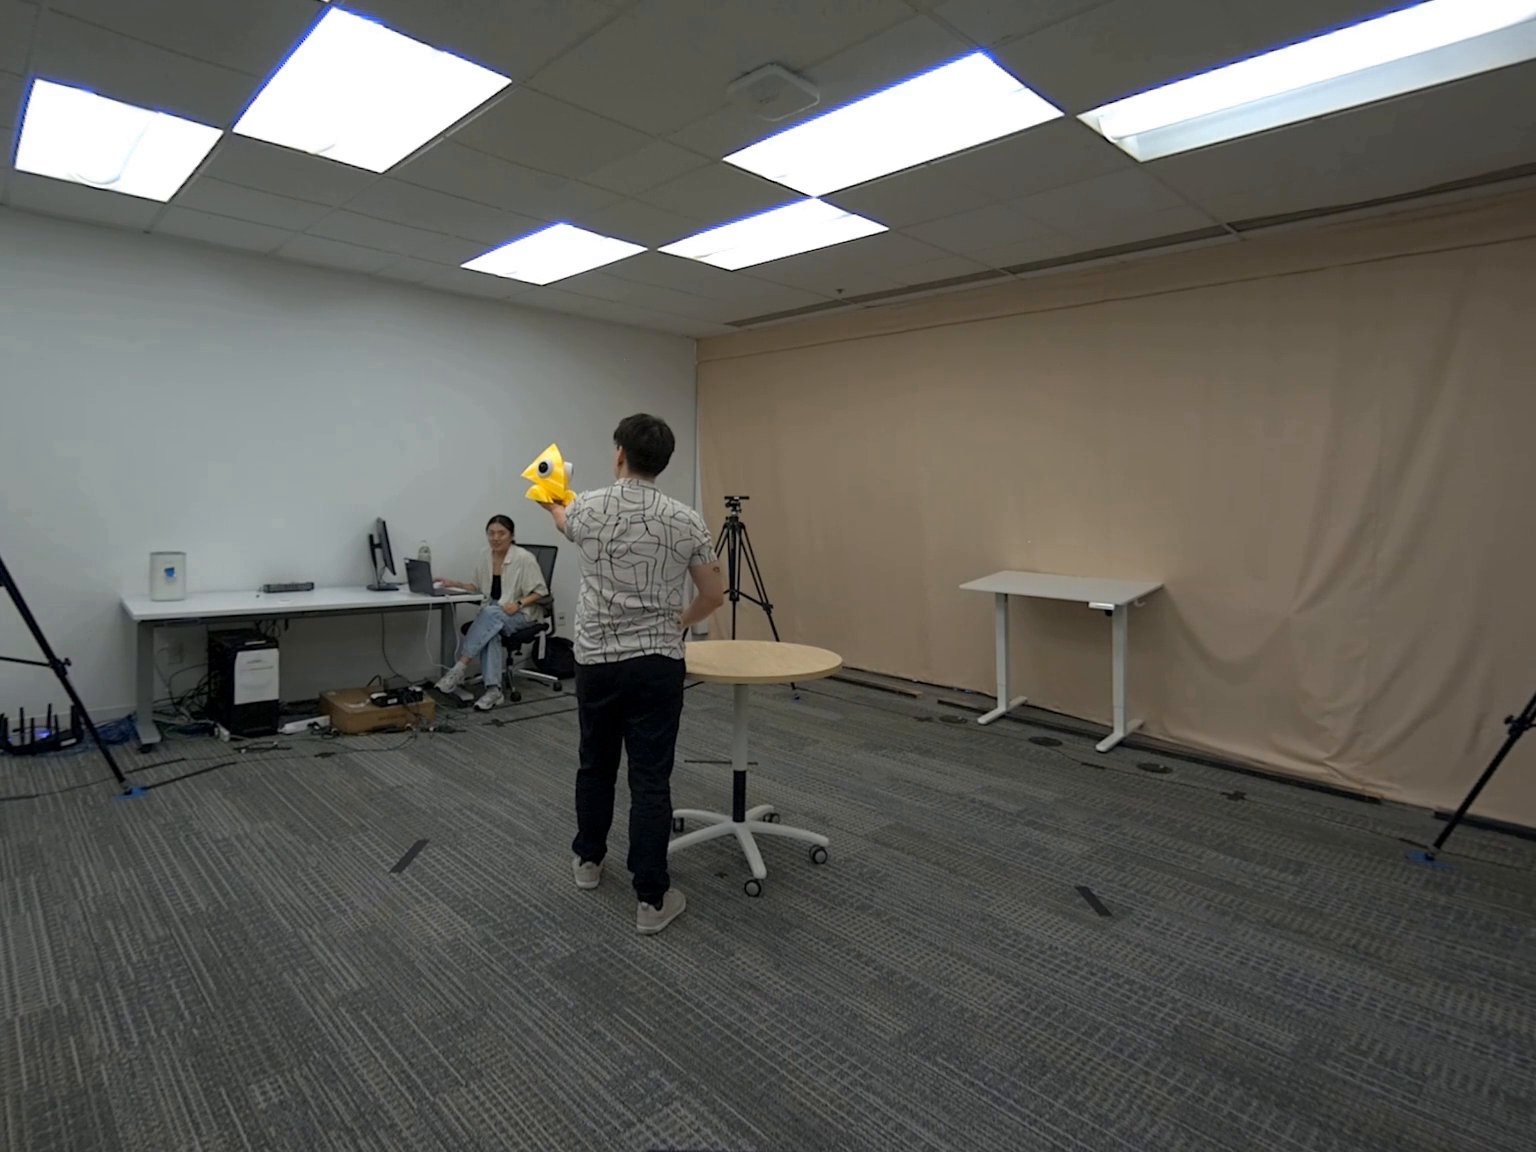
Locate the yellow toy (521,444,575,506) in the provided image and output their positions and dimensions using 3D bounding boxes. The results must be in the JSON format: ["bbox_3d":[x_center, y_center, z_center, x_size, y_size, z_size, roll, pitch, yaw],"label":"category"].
[{"bbox_3d":[-0.862,-0.412,3.377,0.199,0.230,0.198,7,6,-41],"label":"yellow toy"}]
